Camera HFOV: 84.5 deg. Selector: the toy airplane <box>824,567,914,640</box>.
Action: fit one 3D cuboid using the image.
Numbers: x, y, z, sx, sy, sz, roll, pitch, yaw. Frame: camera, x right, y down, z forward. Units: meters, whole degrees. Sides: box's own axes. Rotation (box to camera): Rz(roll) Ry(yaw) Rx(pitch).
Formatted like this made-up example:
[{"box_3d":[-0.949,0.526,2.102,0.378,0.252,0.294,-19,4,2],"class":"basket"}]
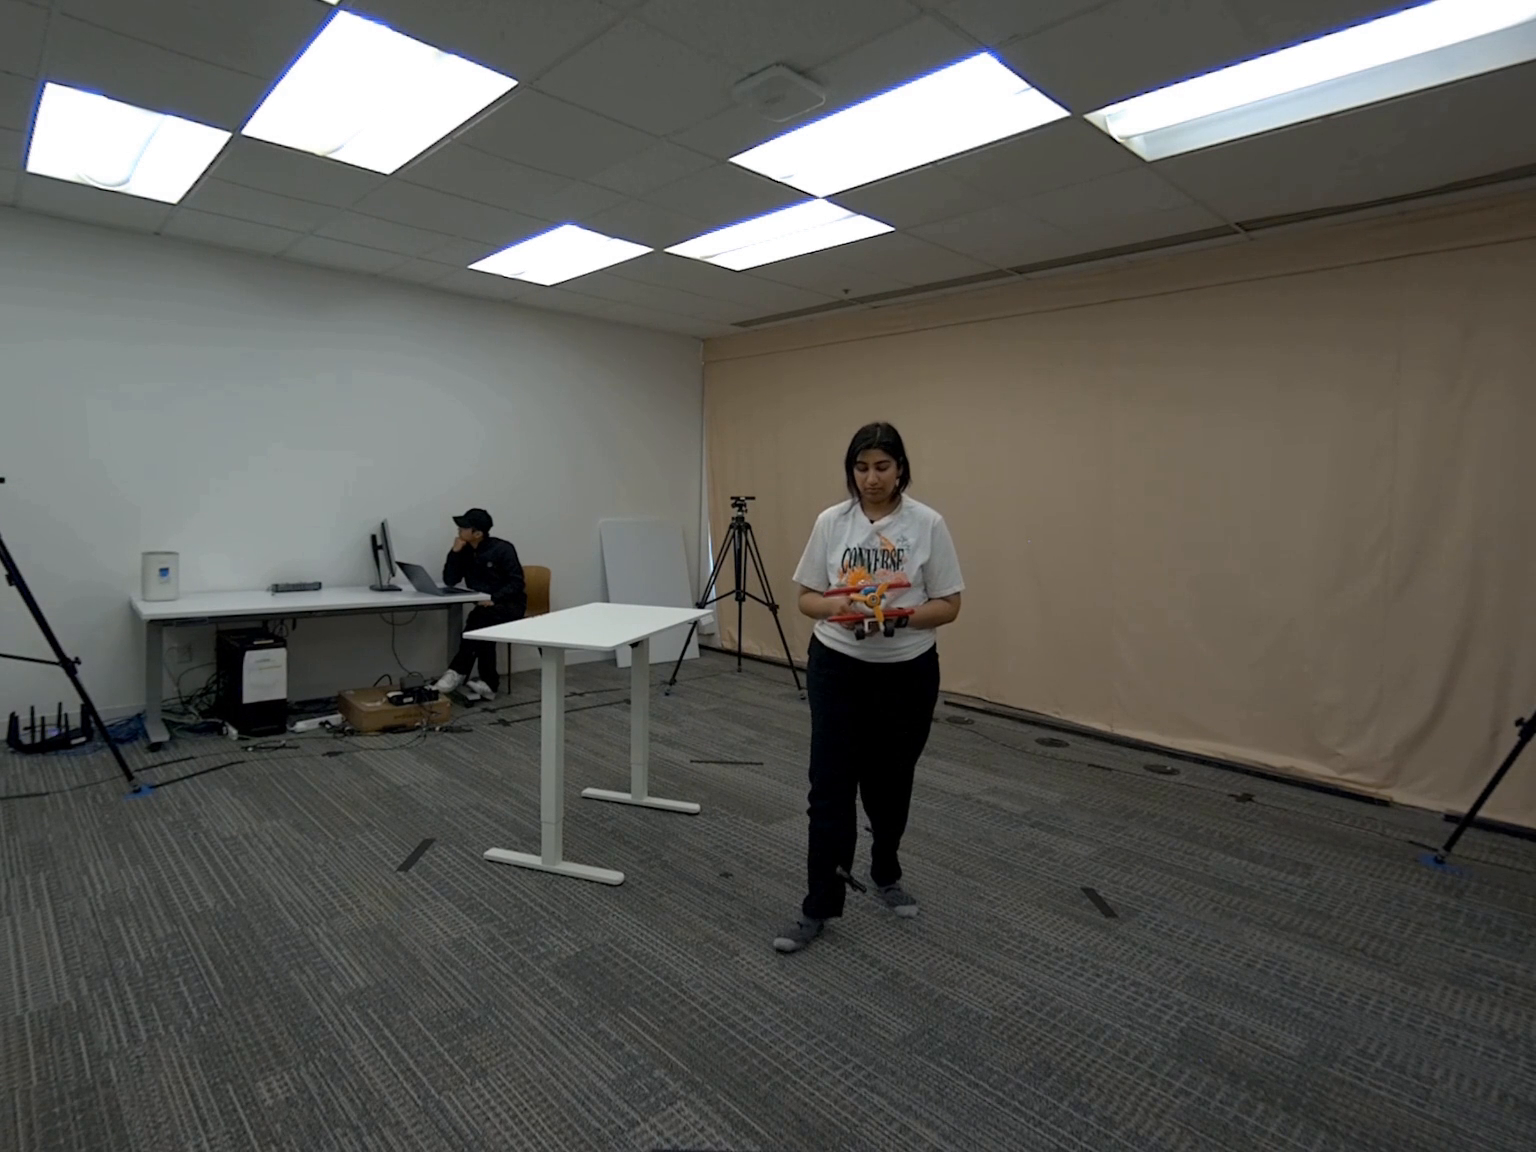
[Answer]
[{"box_3d":[0.267,0.096,2.512,0.247,0.156,0.265,-10,6,-31],"class":"toy airplane"}]
